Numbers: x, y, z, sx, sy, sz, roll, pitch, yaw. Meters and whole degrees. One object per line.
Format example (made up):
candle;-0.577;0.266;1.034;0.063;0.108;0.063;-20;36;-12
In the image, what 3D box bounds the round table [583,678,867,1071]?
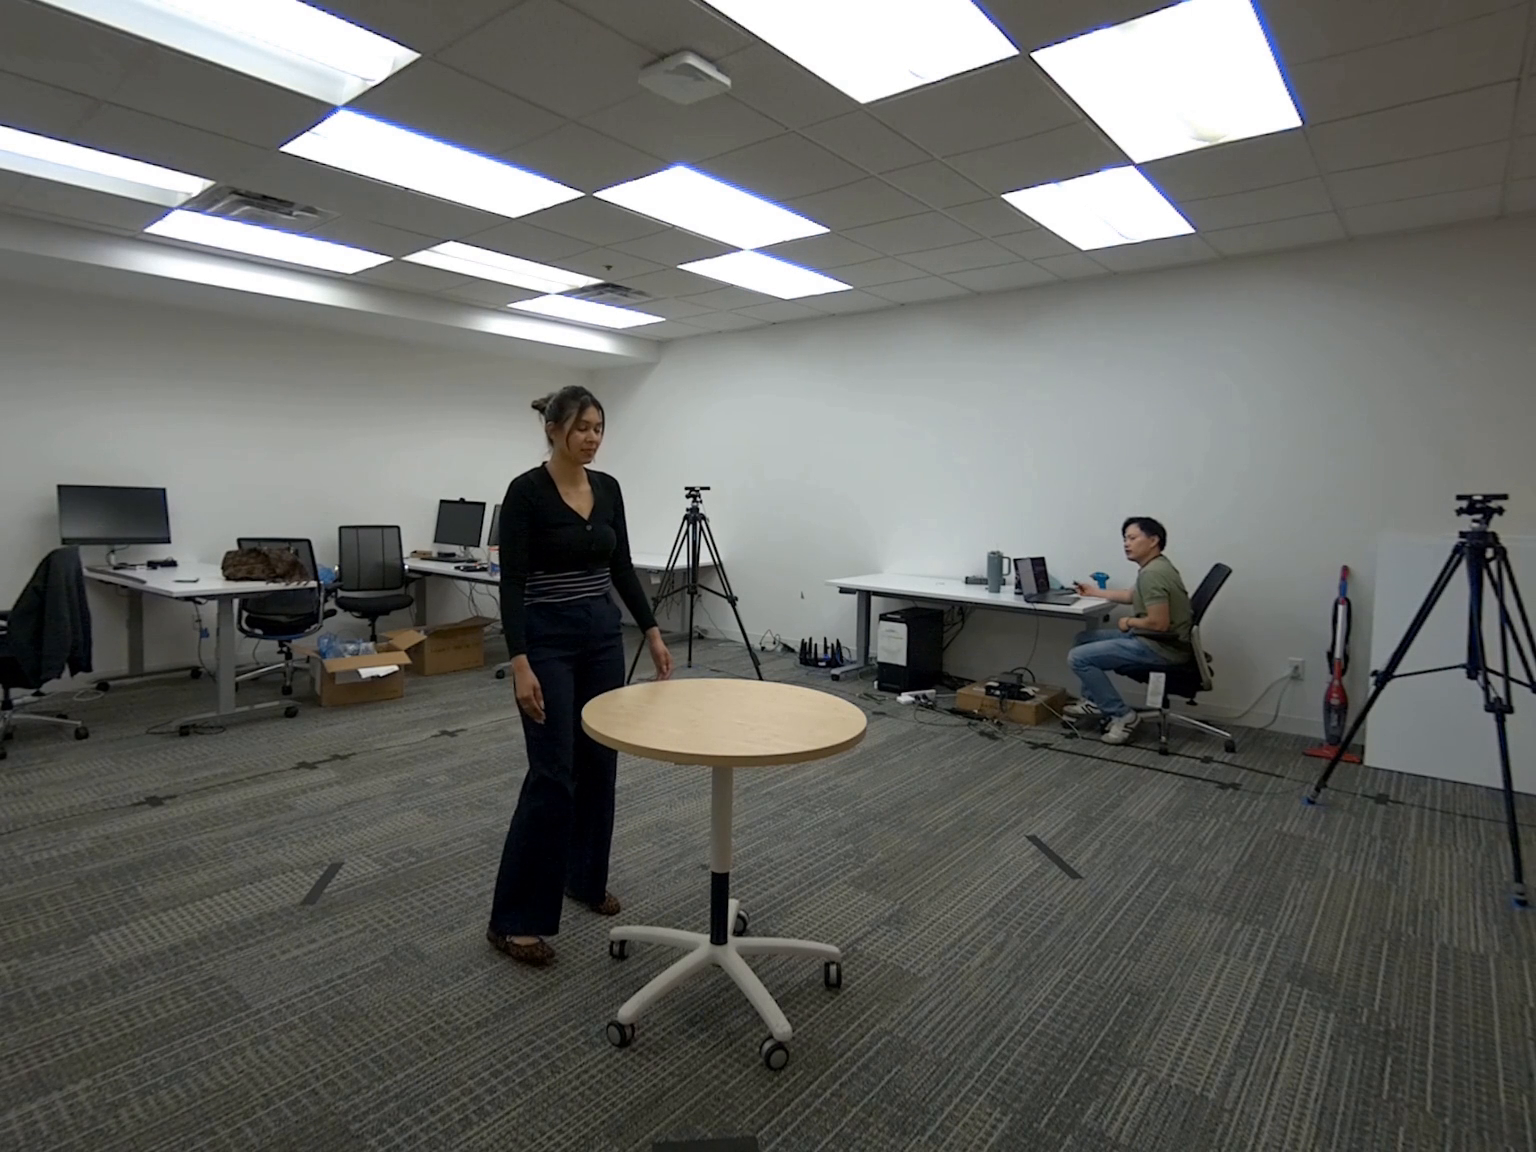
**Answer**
round table;-0.141;0.755;2.334;0.763;0.791;0.768;1;5;-2
